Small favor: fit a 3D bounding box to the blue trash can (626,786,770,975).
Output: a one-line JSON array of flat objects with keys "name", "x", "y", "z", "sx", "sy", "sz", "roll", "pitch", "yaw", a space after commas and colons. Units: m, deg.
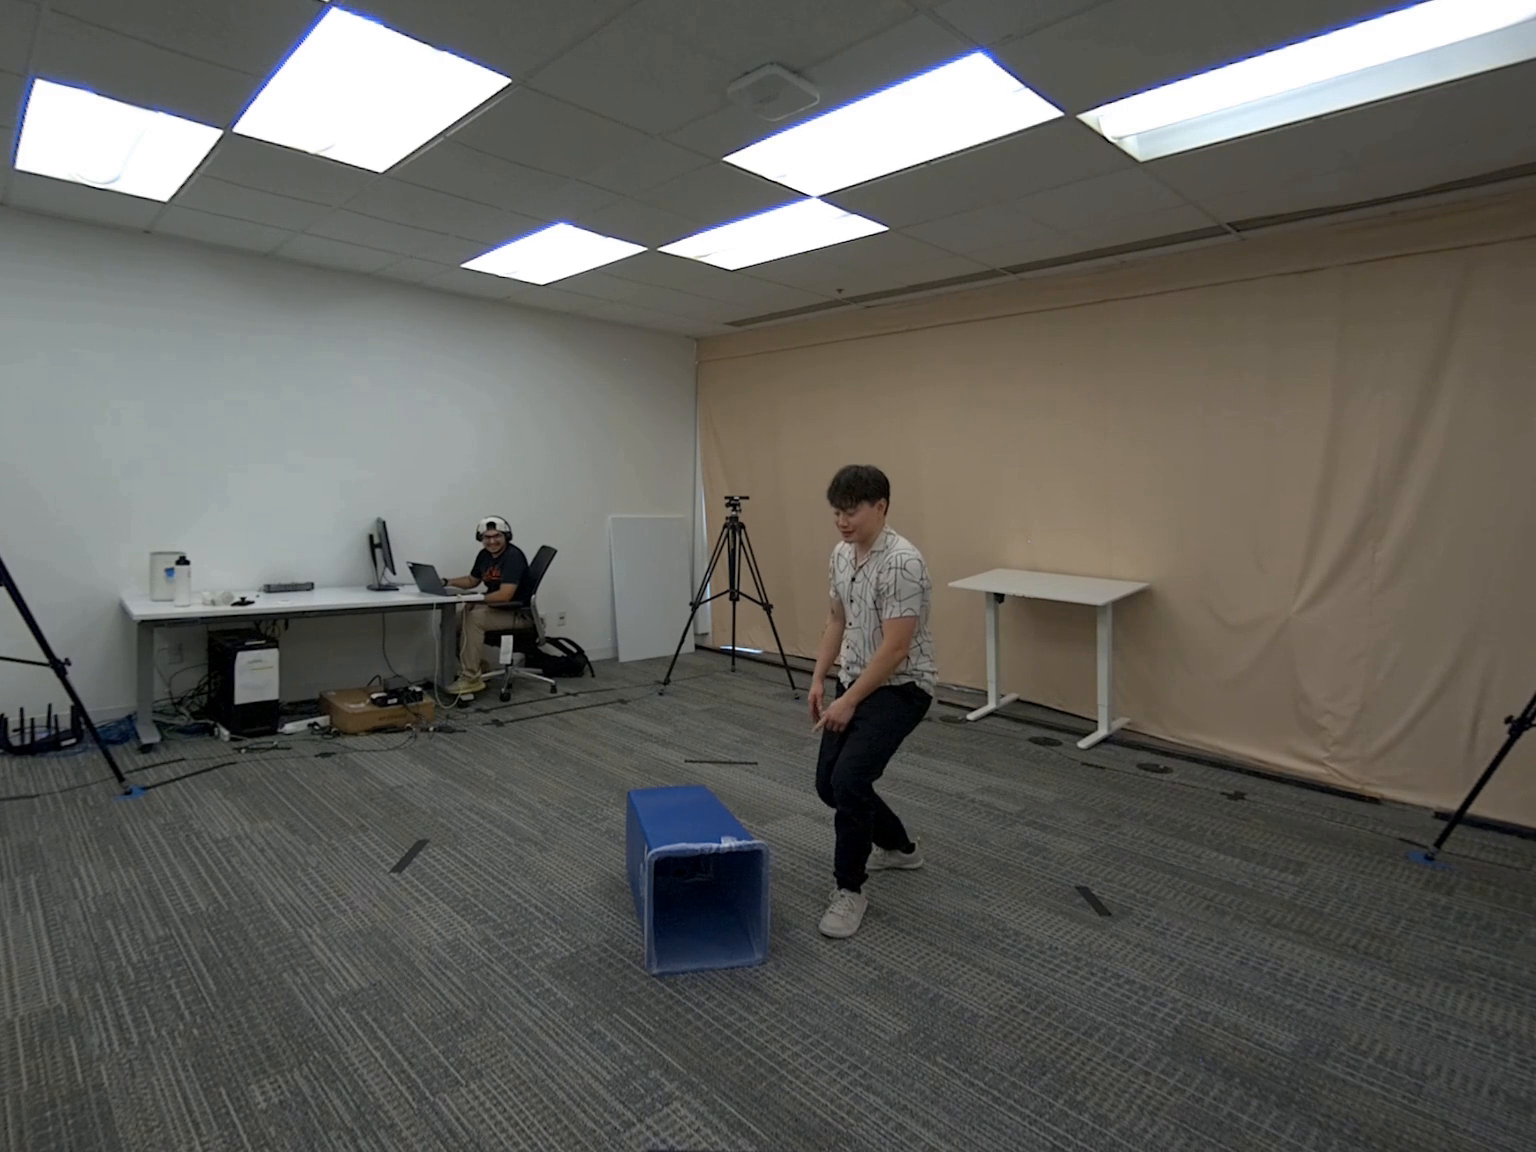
[{"name": "blue trash can", "x": -0.275, "y": 0.962, "z": 2.807, "sx": 0.373, "sy": 0.374, "sz": 0.722, "roll": 1, "pitch": 1, "yaw": -16}]
